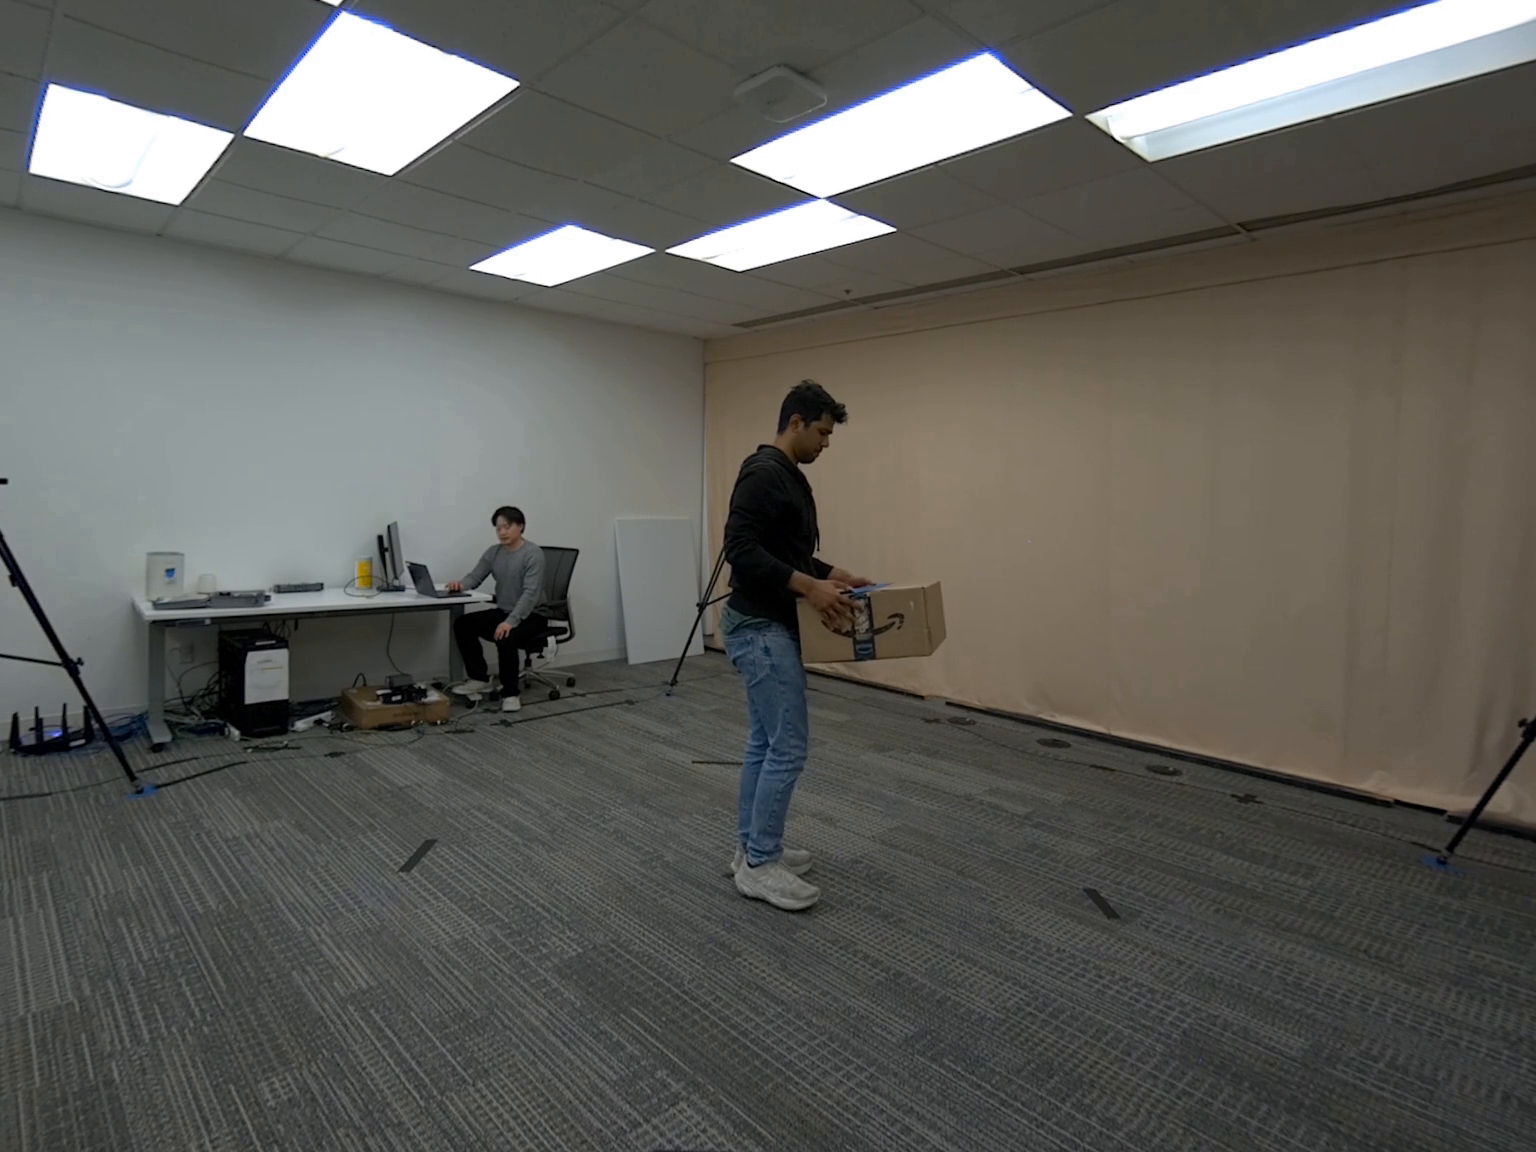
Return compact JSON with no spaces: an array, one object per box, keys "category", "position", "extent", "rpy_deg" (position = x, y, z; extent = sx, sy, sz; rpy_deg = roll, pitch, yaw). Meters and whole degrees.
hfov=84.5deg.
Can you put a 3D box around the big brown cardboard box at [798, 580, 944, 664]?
[{"category":"big brown cardboard box","position":[0.371,0.148,2.950],"extent":[0.422,0.233,0.581],"rpy_deg":[-4,-1,15]}]
